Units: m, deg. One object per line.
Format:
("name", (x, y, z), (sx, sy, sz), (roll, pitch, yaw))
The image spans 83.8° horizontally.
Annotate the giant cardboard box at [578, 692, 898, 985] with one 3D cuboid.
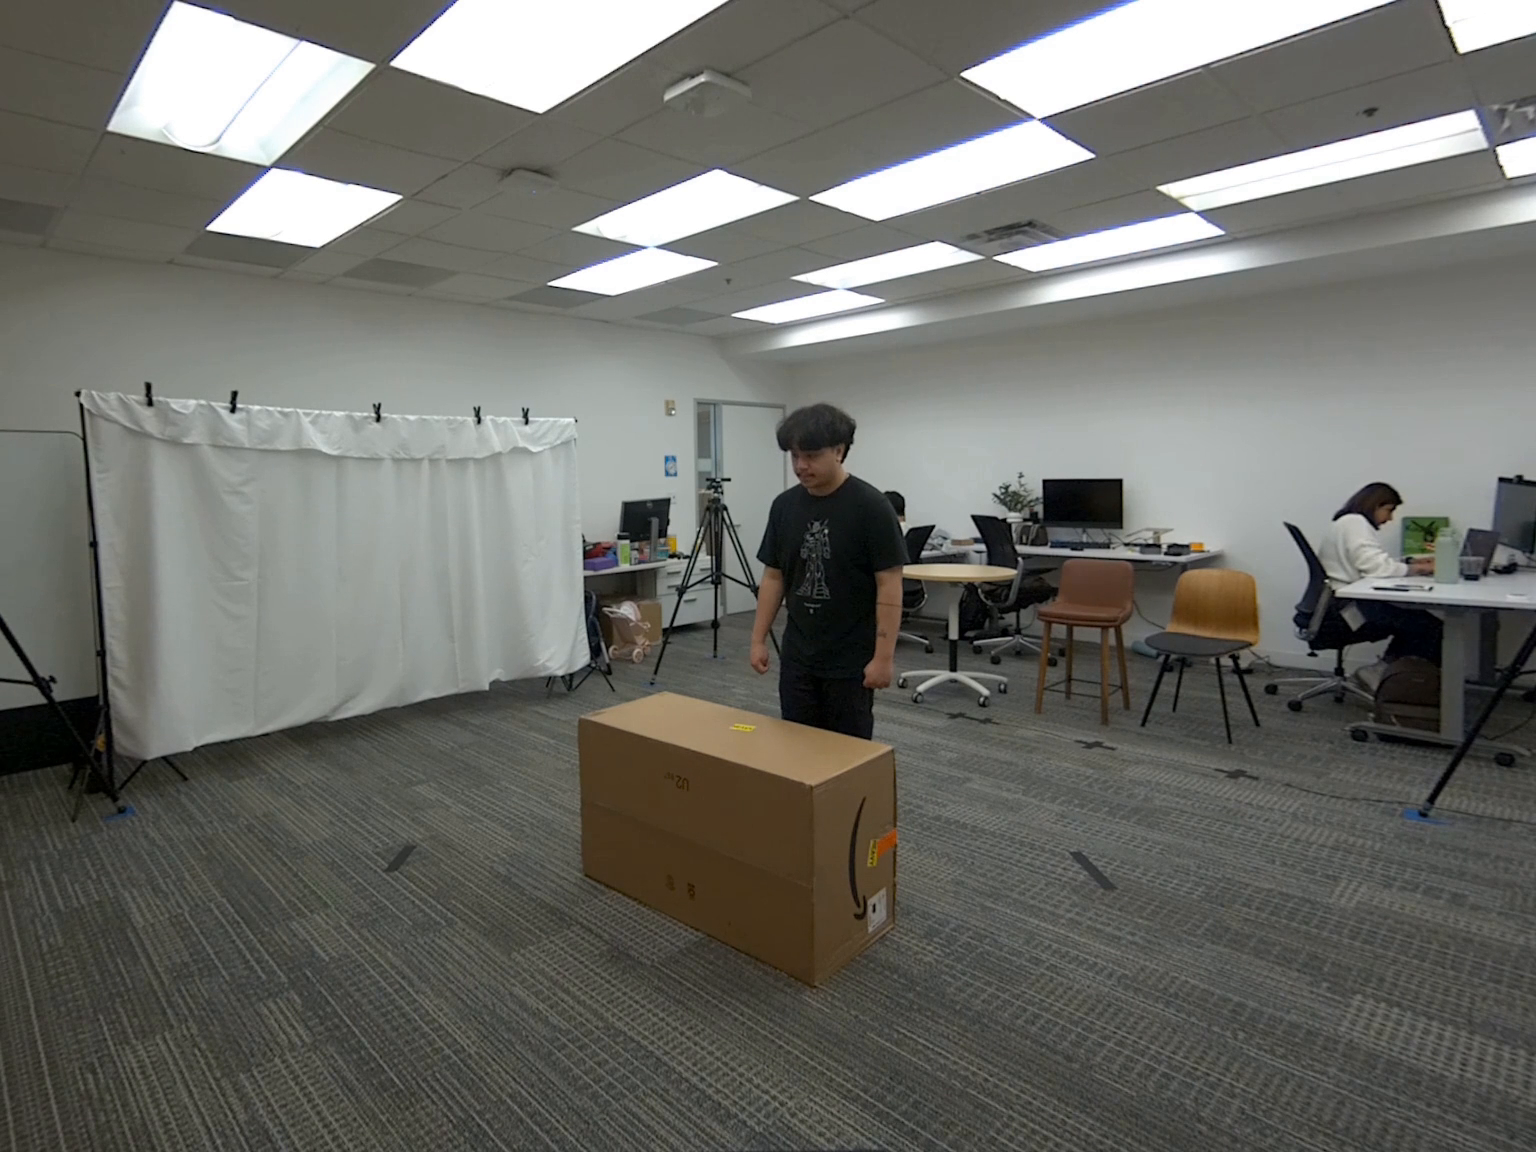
("giant cardboard box", (-0.137, 0.792, 2.815), (1.059, 0.582, 0.435), (5, 7, 41))
